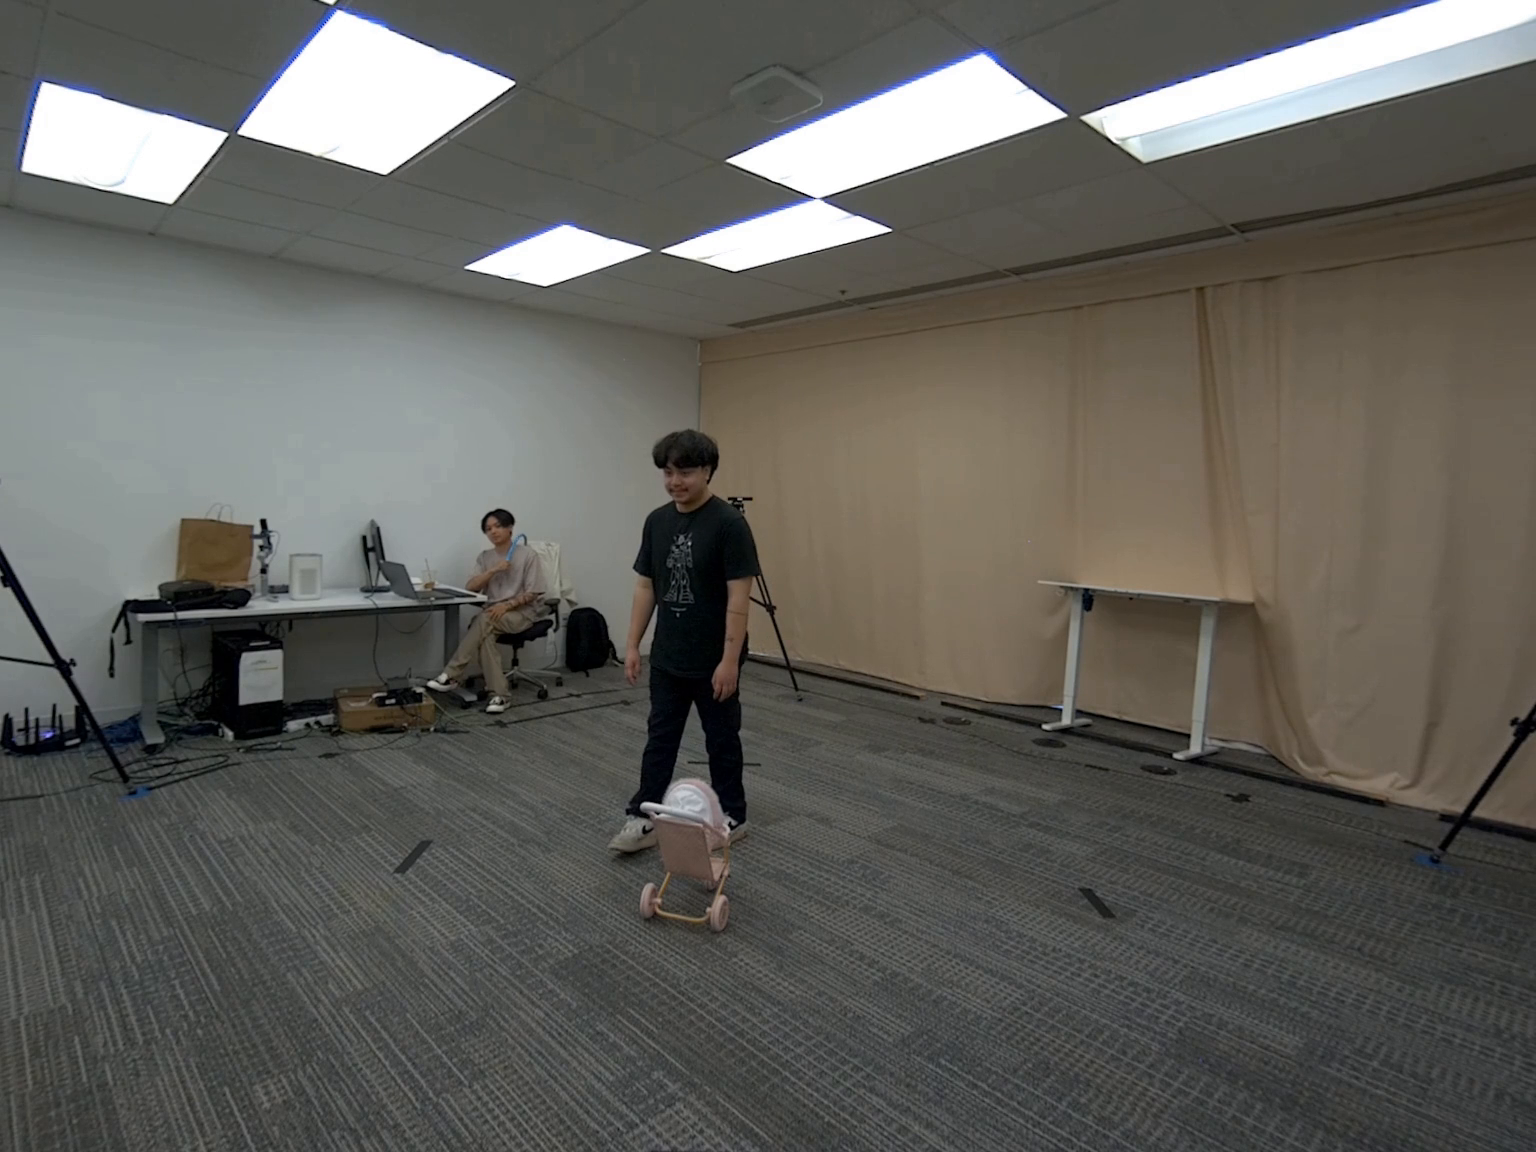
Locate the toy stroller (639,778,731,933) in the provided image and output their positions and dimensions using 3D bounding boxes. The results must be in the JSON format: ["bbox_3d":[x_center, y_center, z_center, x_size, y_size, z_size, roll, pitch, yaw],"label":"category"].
[{"bbox_3d":[-0.256,0.911,2.799,0.286,0.528,0.340,4,19,21],"label":"toy stroller"}]
